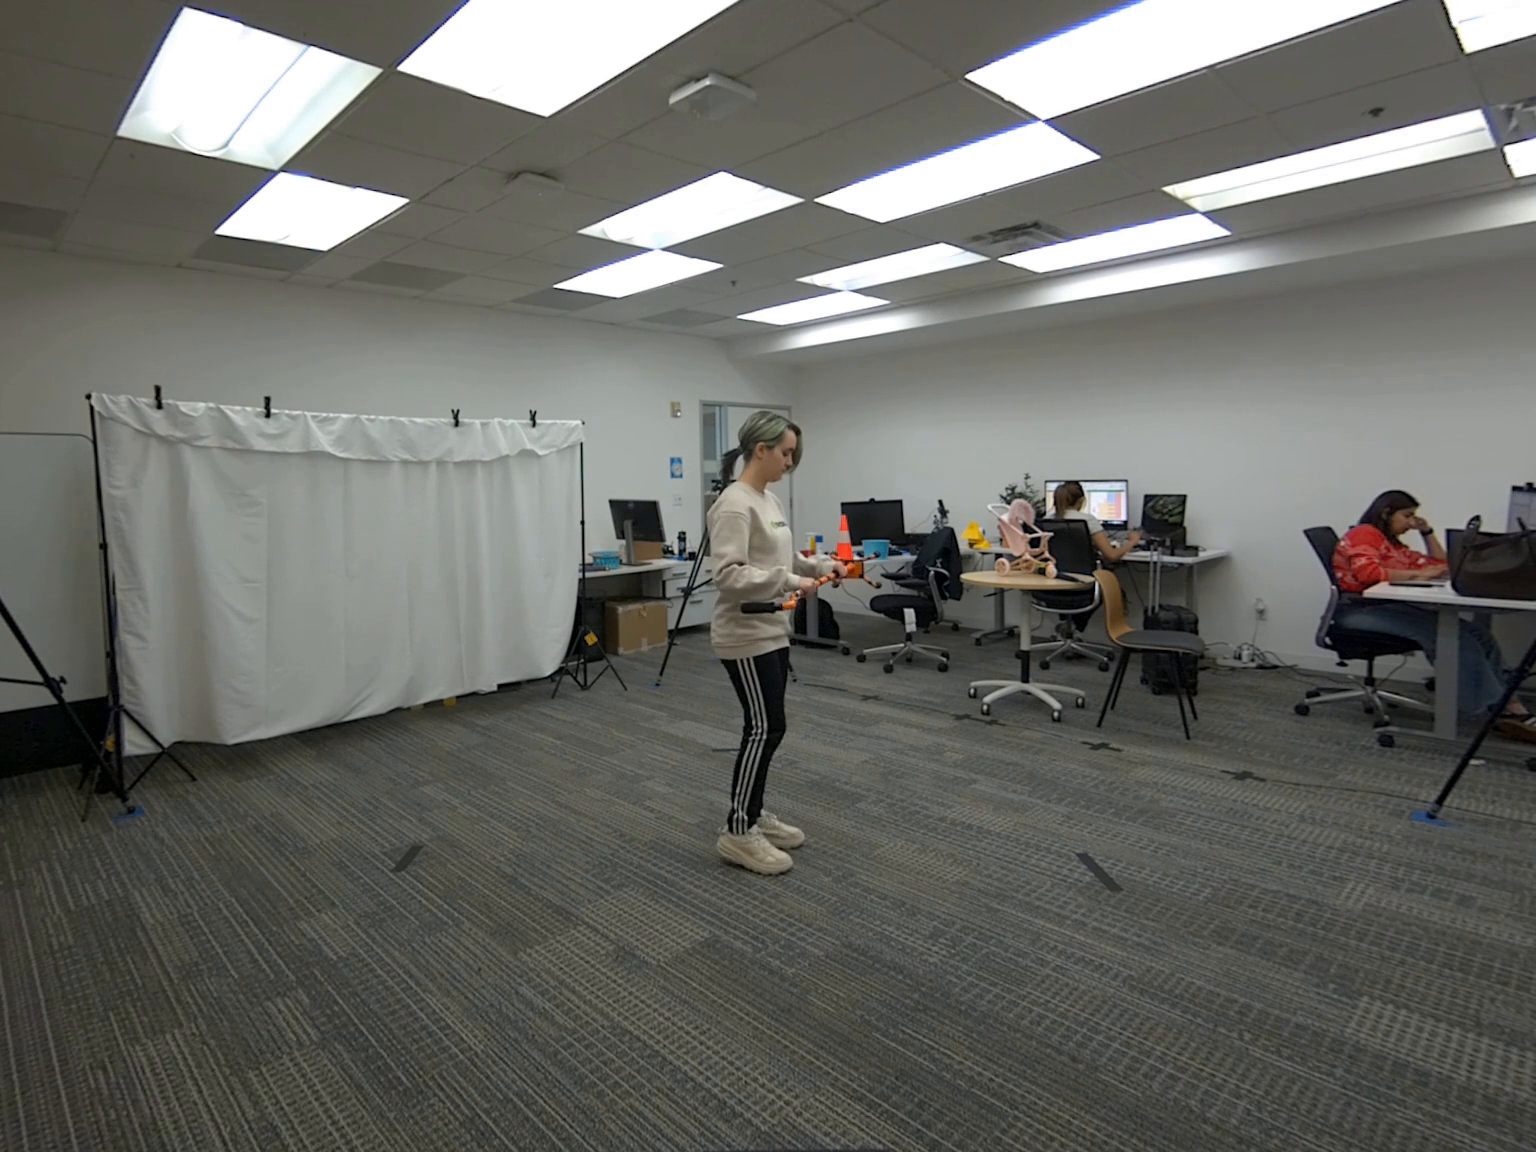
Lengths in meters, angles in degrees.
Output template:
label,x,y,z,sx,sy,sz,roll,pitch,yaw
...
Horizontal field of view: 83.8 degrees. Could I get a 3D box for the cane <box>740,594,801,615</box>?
label,x,y,z,sx,sy,sz,roll,pitch,yaw
cane,0.192,0.037,3.020,0.211,0.151,0.893,0,7,24
